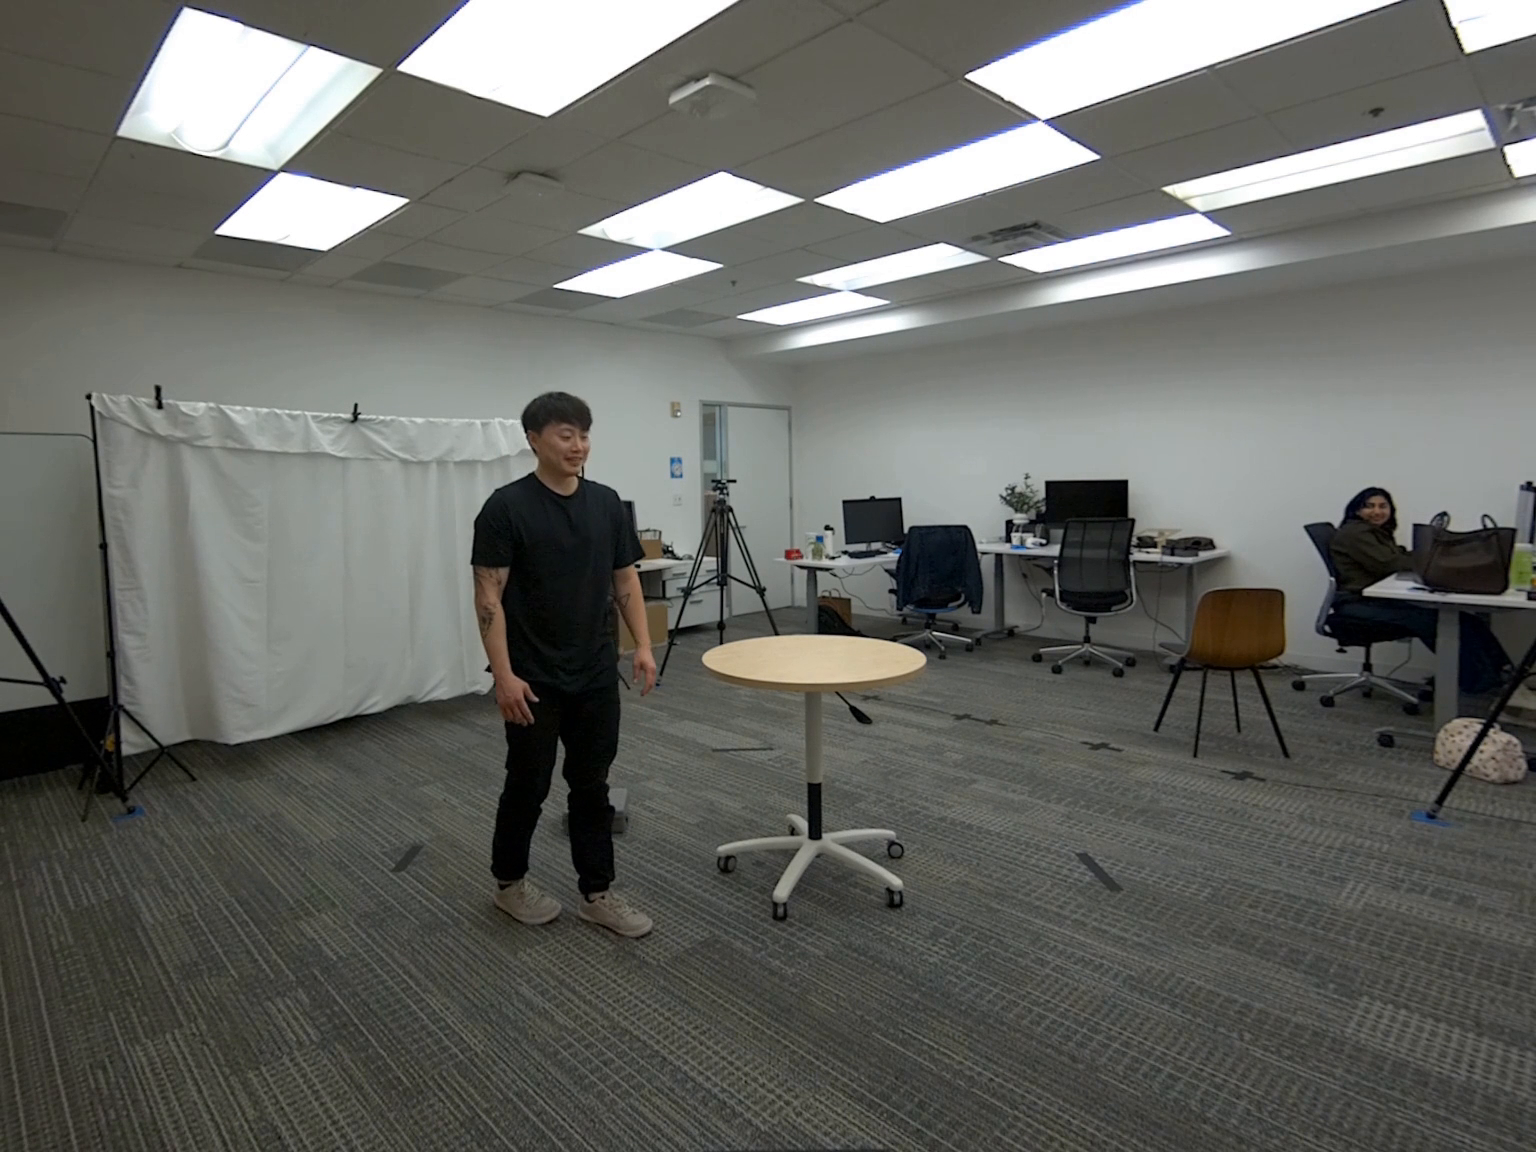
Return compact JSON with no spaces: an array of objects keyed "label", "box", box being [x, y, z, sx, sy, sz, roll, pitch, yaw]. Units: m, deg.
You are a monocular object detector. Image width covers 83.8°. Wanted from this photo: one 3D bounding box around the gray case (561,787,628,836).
[{"label":"gray case","box":[-0.702,0.961,3.510,0.256,0.104,0.263,-2,6,-5]}]
